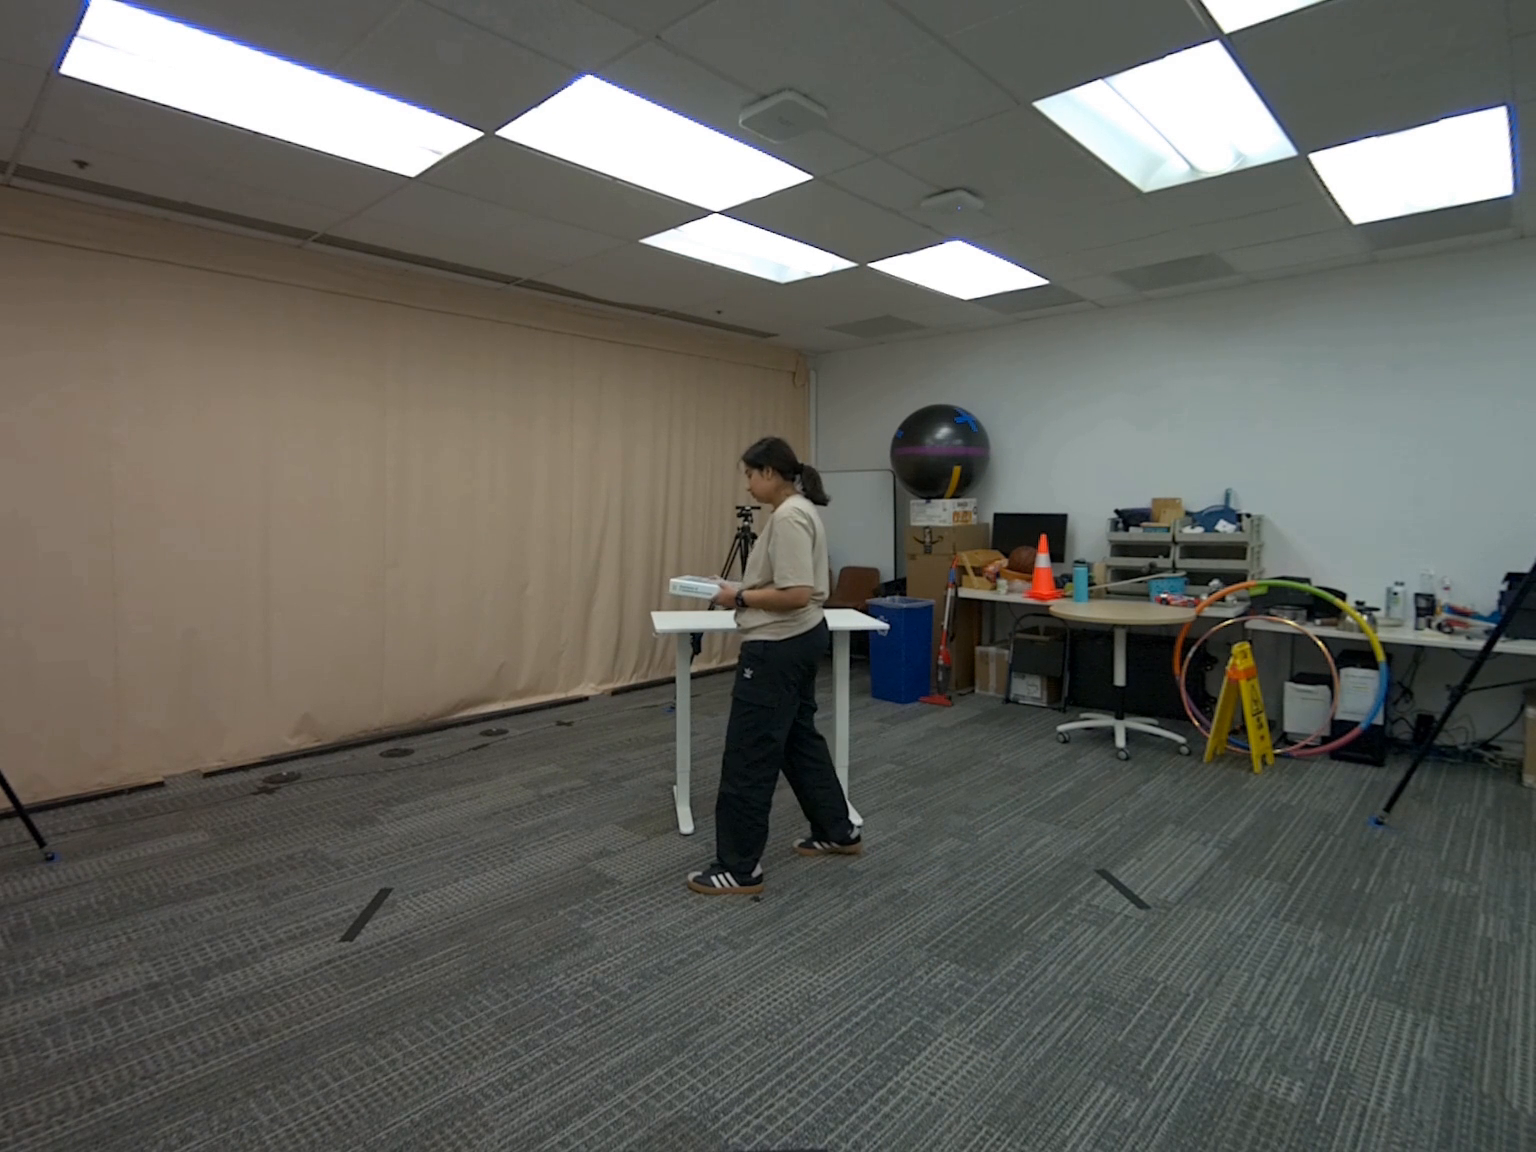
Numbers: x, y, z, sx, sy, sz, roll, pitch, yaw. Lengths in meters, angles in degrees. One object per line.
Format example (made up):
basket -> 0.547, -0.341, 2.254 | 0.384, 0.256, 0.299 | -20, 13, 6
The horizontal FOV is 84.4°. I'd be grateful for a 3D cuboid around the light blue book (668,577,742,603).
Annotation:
light blue book -> -0.234, 0.049, 3.272 | 0.197, 0.059, 0.254 | 9, 5, 25
